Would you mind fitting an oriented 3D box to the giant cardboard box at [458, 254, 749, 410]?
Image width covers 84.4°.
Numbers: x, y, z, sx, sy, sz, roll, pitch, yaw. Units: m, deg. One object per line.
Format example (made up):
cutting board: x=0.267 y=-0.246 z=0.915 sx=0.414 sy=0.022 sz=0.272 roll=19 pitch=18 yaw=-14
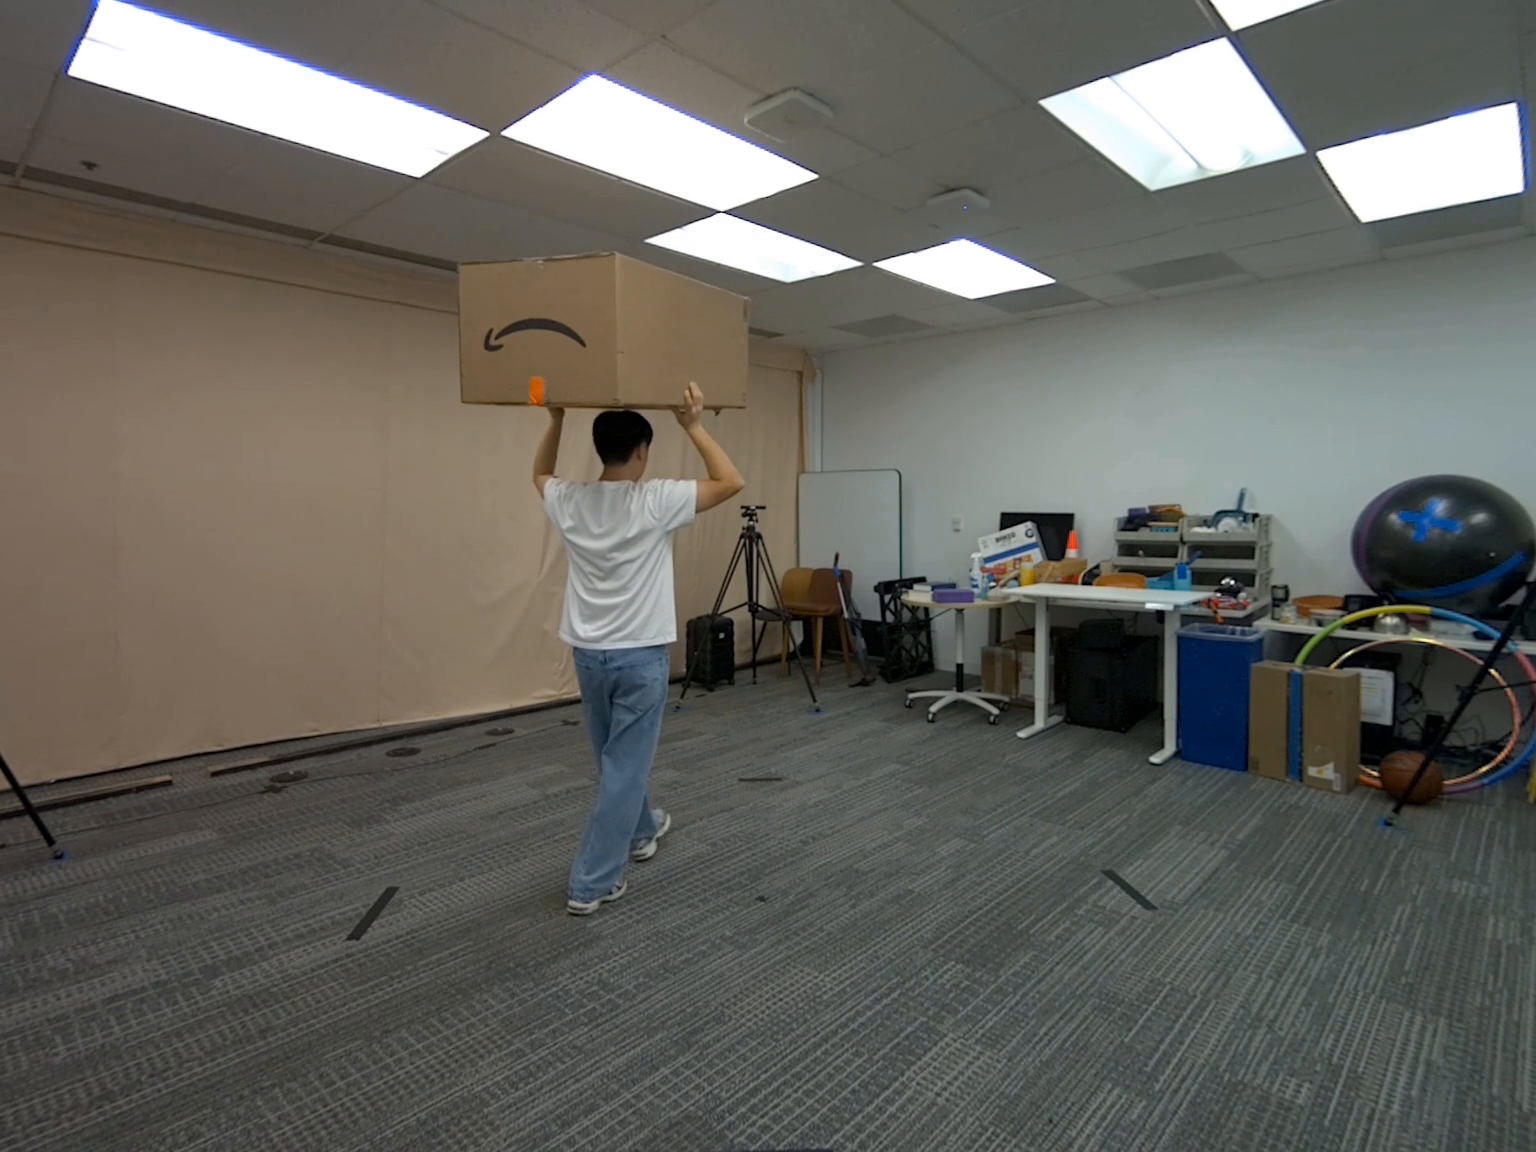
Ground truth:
giant cardboard box: x=-0.514 y=-0.805 z=2.967 sx=0.591 sy=0.423 sz=1.008 roll=5 pitch=12 yaw=21
